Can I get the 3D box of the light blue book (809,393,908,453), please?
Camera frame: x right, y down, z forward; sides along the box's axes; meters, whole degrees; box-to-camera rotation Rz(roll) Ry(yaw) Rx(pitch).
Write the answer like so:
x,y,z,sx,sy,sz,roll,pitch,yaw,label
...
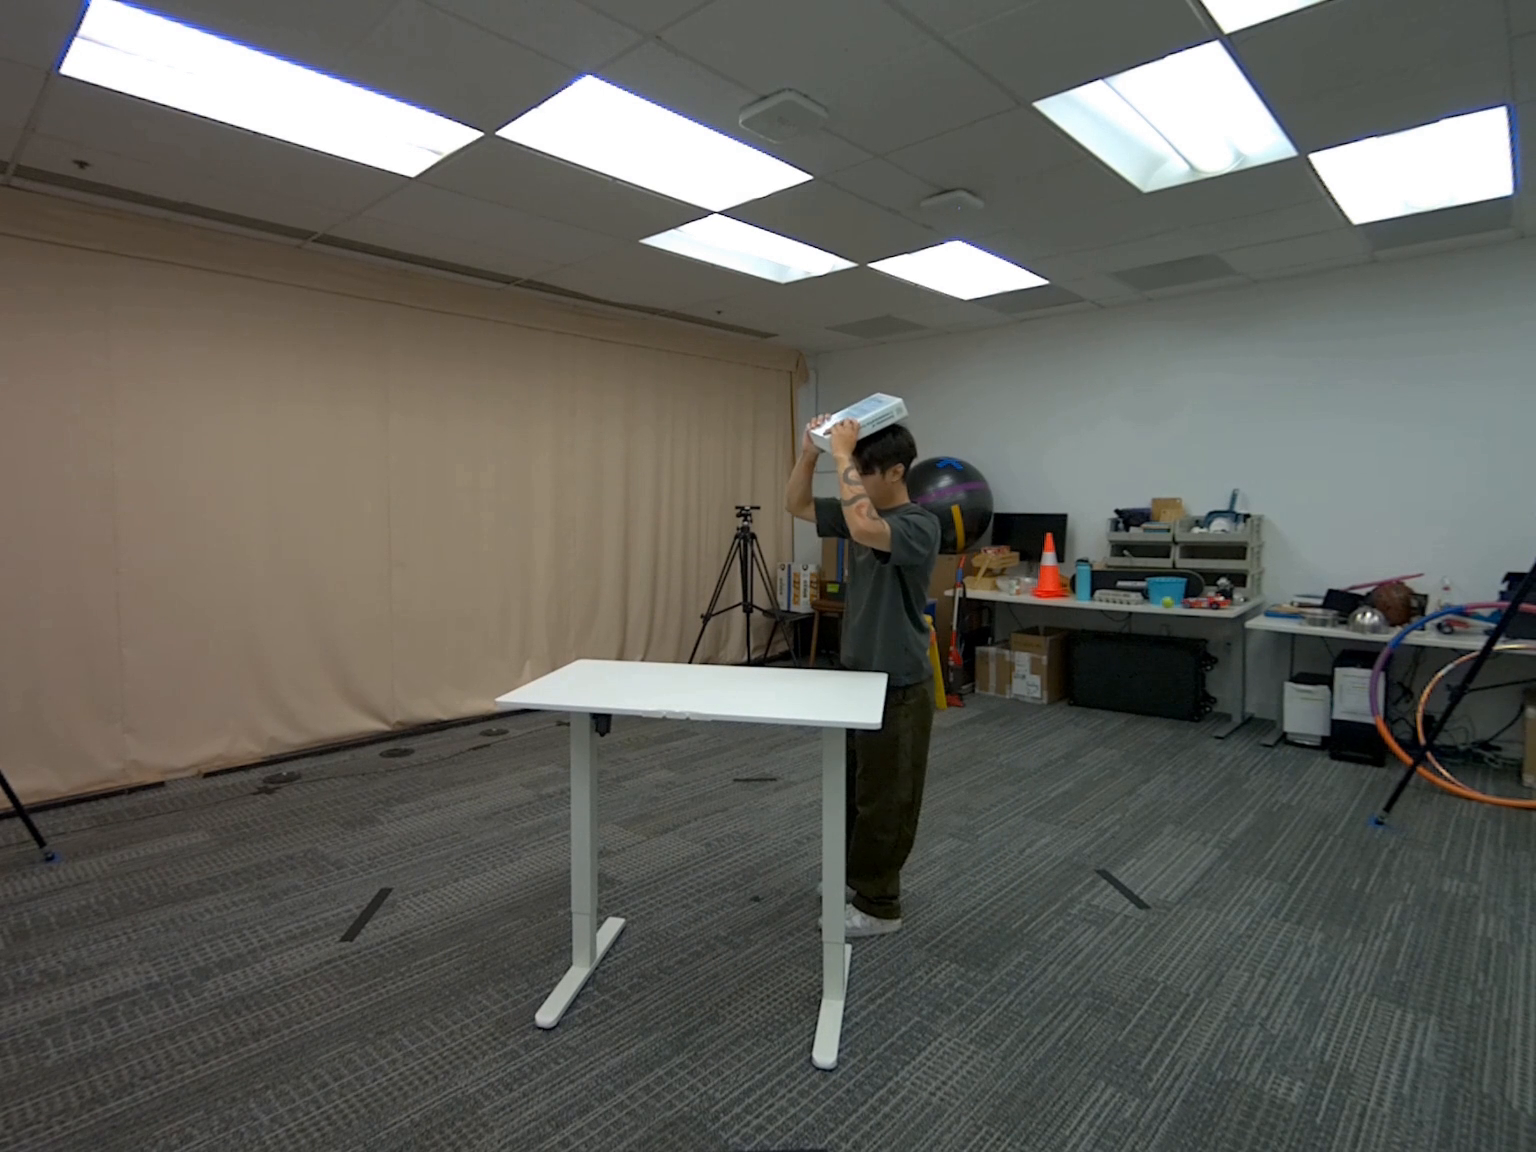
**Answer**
x,y,z,sx,sy,sz,roll,pitch,yaw,label
0.273,-0.466,2.585,0.260,0.058,0.196,-28,22,-3,light blue book
